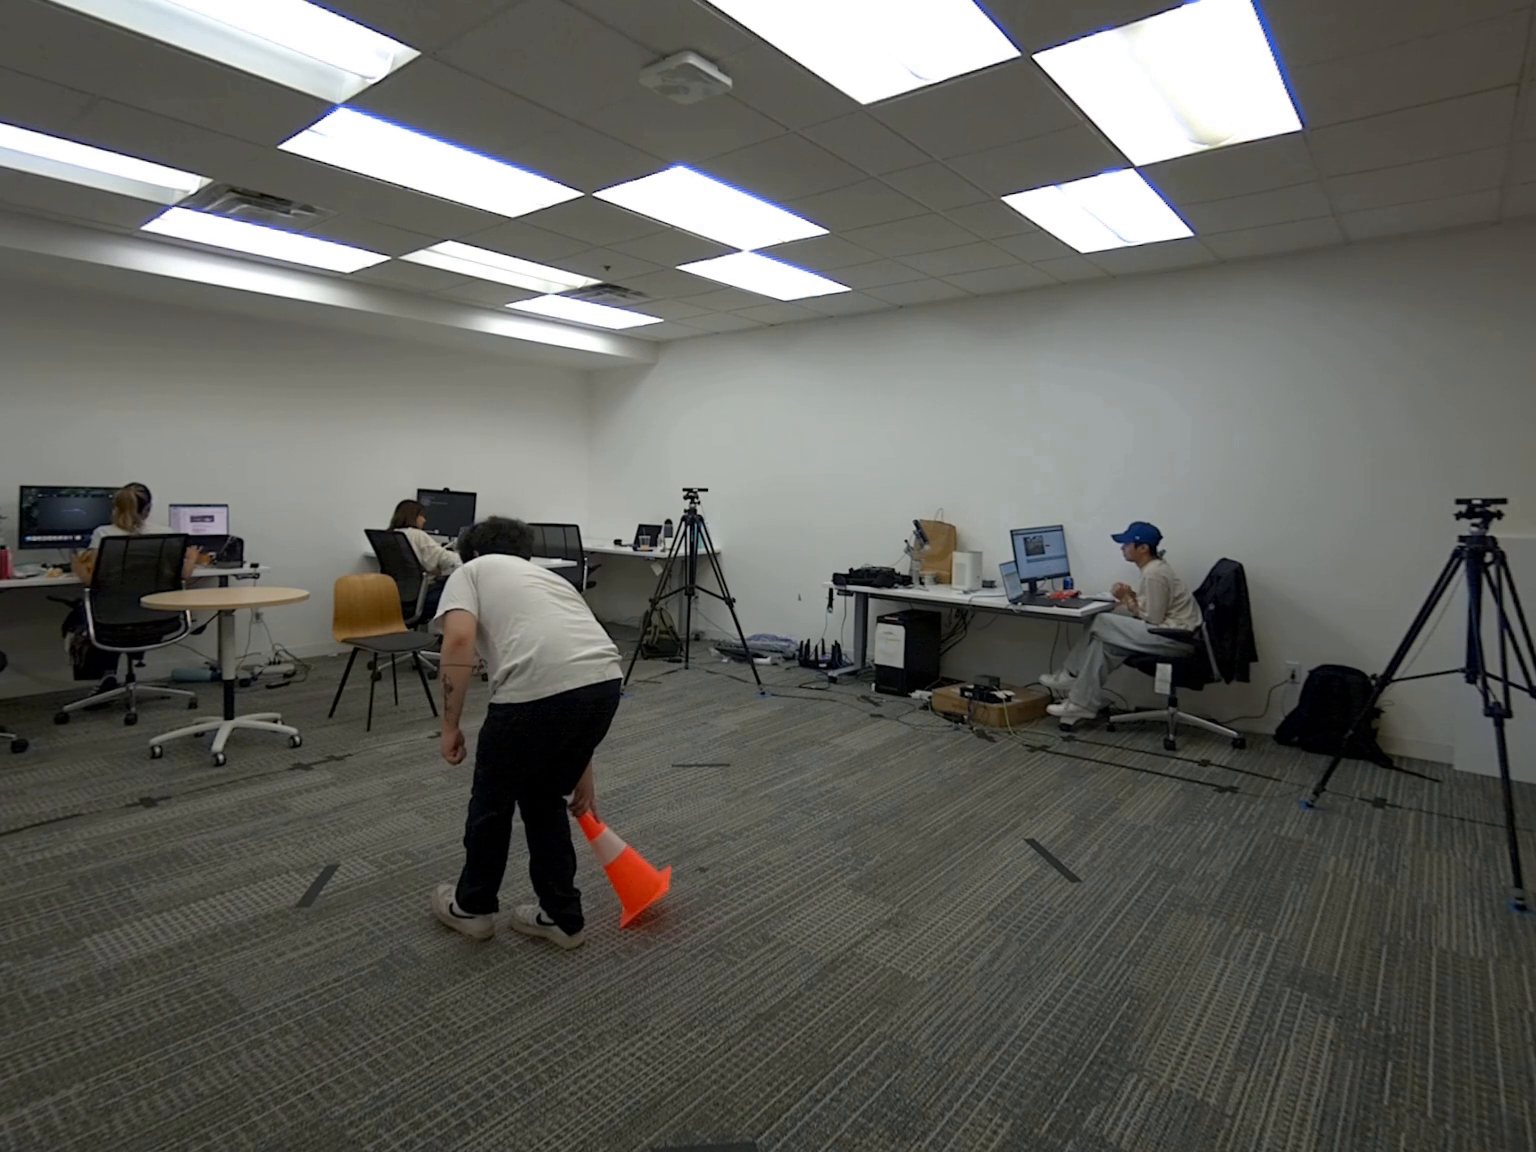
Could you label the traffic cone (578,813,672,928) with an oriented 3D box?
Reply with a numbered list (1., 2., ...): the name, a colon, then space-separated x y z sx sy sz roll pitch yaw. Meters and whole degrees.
1. traffic cone: -0.519 0.891 2.766 0.203 0.383 0.205 -38 1 4
